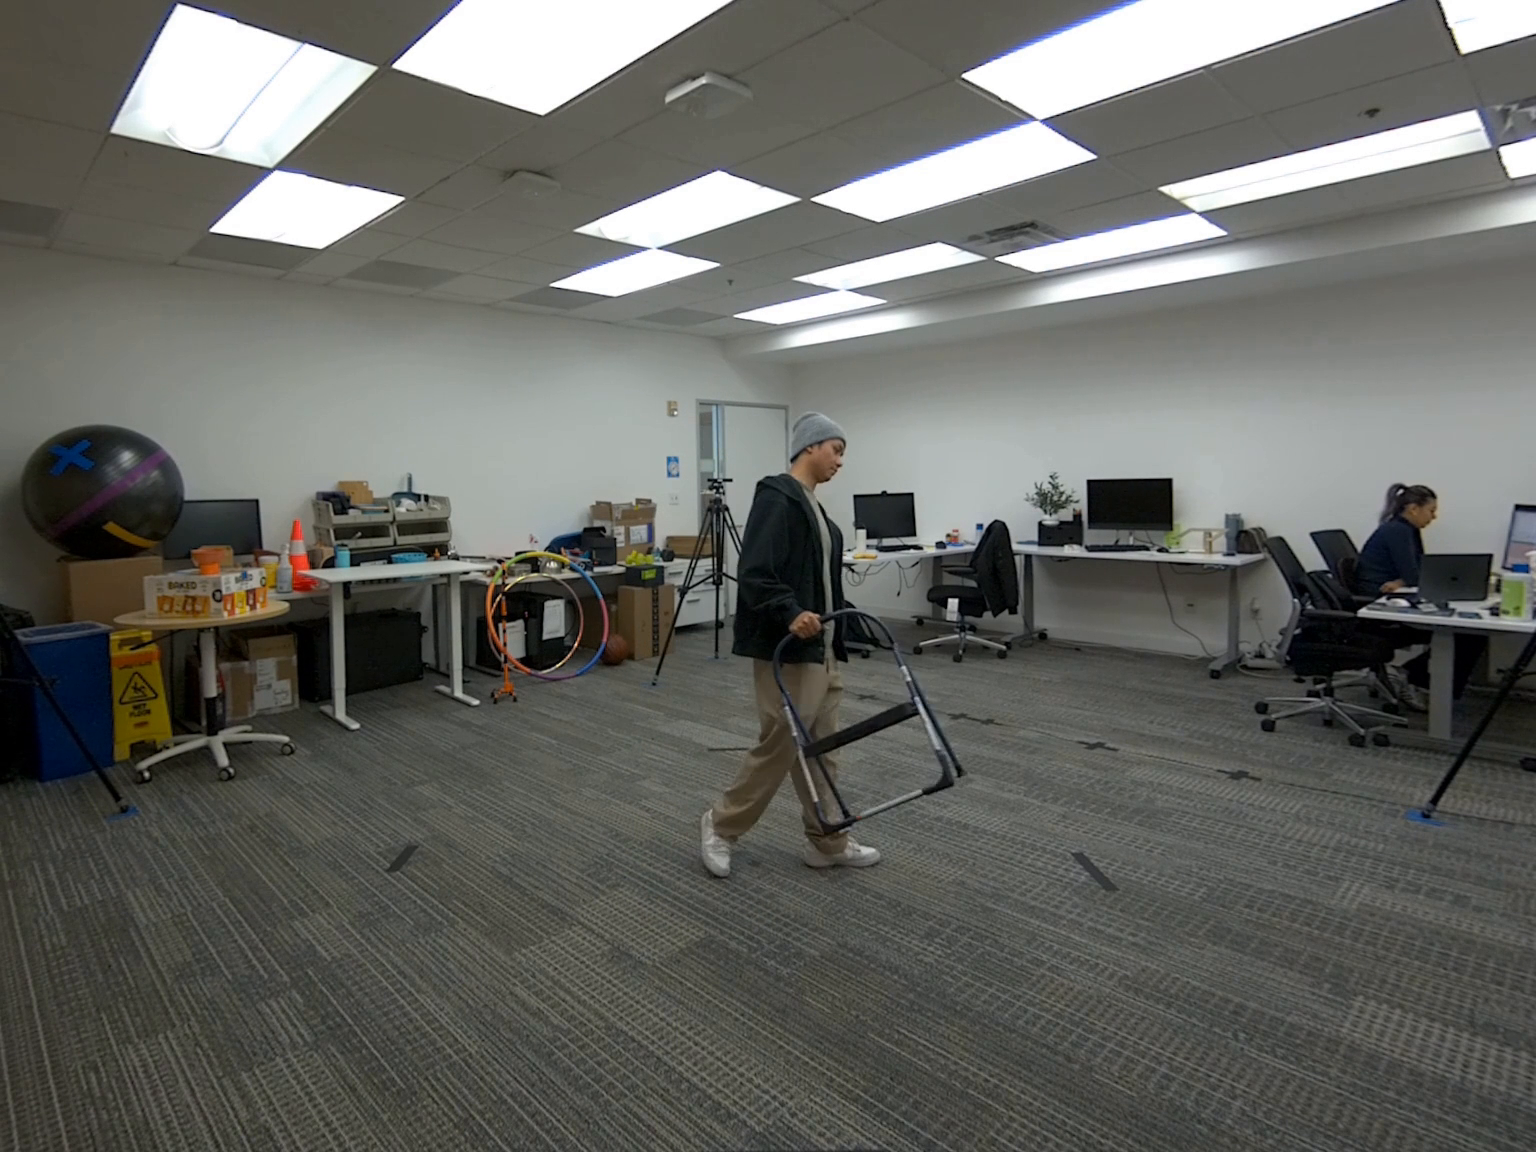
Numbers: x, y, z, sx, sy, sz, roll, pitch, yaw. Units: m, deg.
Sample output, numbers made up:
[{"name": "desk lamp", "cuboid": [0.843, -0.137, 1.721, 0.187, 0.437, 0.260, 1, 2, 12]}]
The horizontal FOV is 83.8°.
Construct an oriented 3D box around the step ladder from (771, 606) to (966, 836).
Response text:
[{"name": "step ladder", "cuboid": [0.283, 0.433, 2.695, 0.433, 0.618, 0.340, -27, -17, 13]}]
